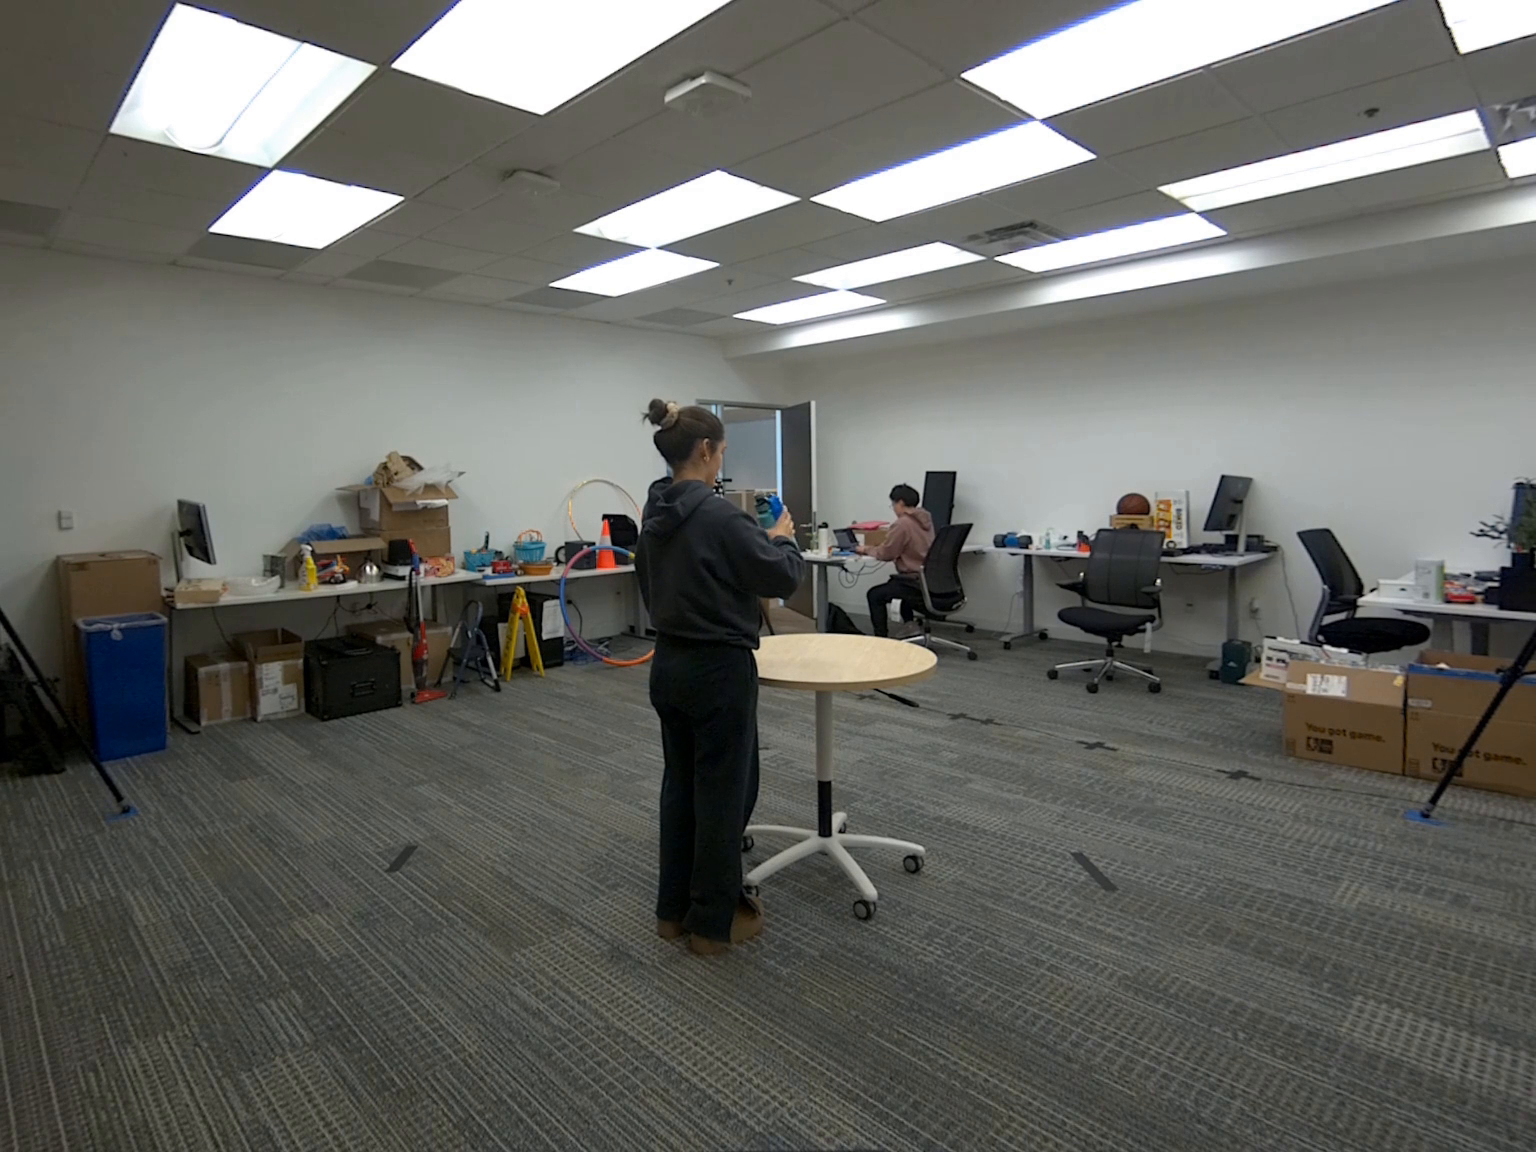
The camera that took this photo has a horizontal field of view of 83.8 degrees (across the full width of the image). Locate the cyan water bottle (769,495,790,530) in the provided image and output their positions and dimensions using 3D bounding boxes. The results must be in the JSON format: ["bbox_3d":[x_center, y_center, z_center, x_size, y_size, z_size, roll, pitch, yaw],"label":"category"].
[{"bbox_3d":[0.028,-0.144,2.753,0.092,0.280,0.093,-18,11,2],"label":"cyan water bottle"}]
